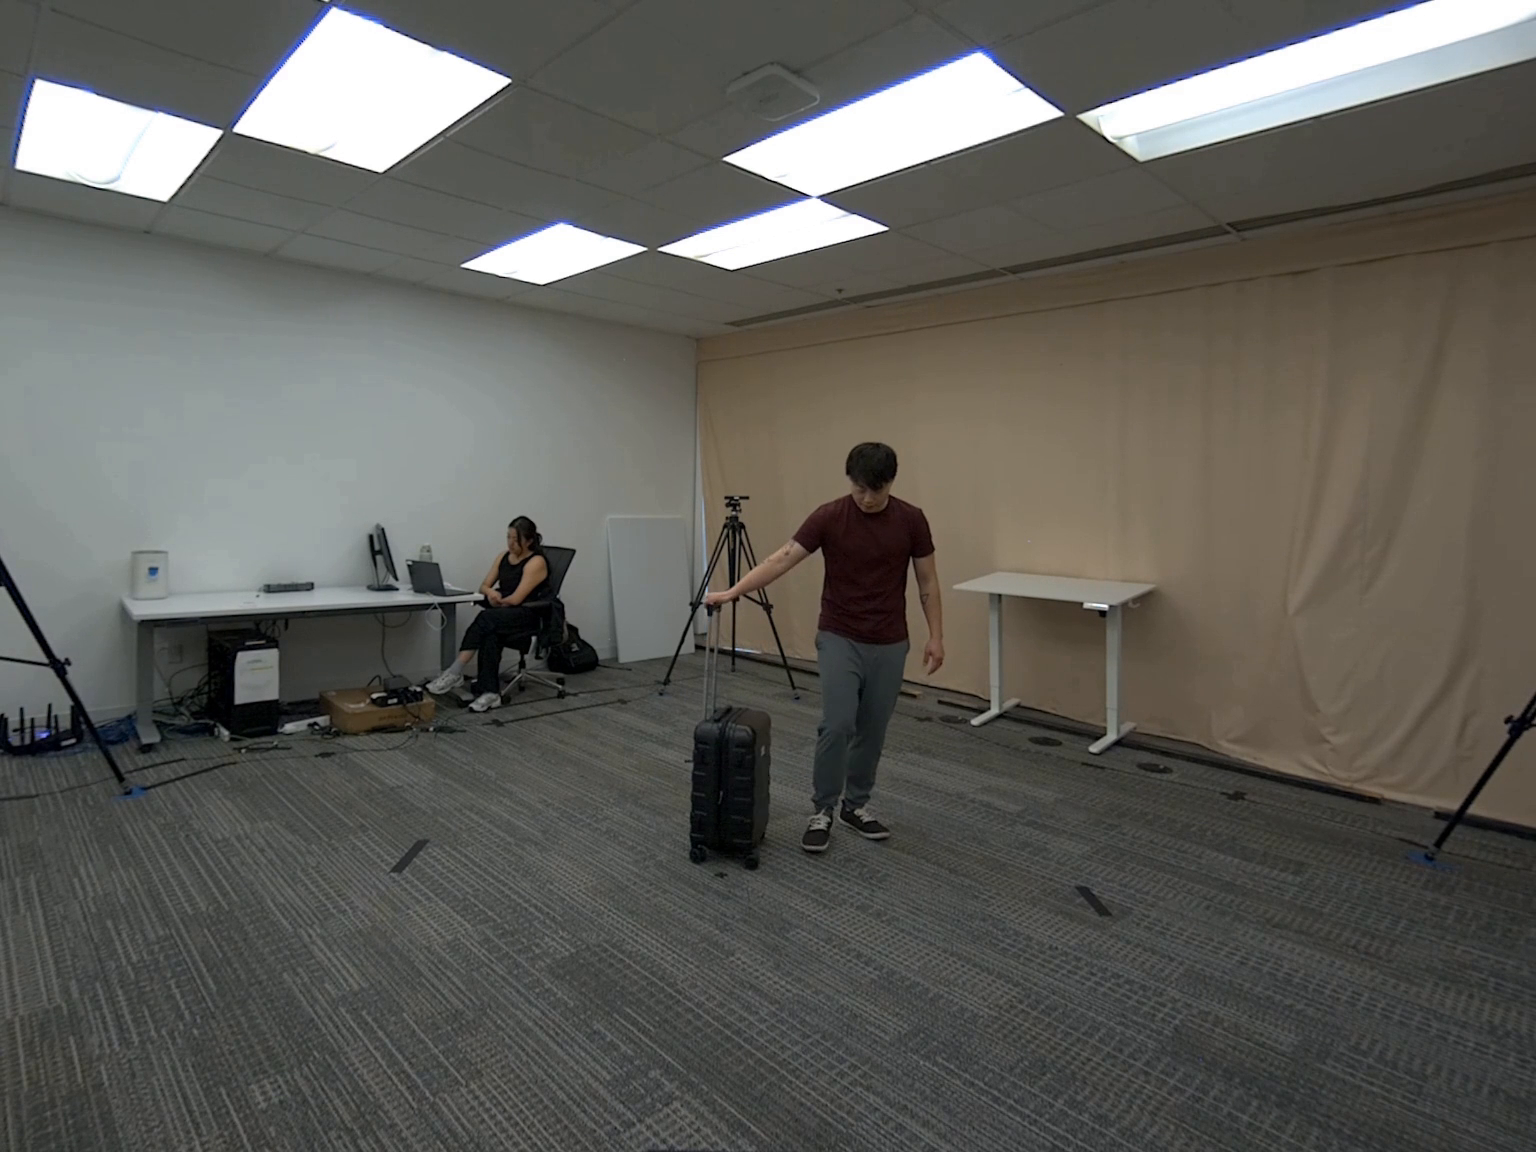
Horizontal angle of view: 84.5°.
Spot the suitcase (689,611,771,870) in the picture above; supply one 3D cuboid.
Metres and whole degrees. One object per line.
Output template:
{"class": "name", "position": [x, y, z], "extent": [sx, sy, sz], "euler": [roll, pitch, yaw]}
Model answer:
{"class": "suitcase", "position": [-0.134, 0.605, 3.313], "extent": [0.259, 0.976, 0.381], "euler": [4, 3, 11]}
